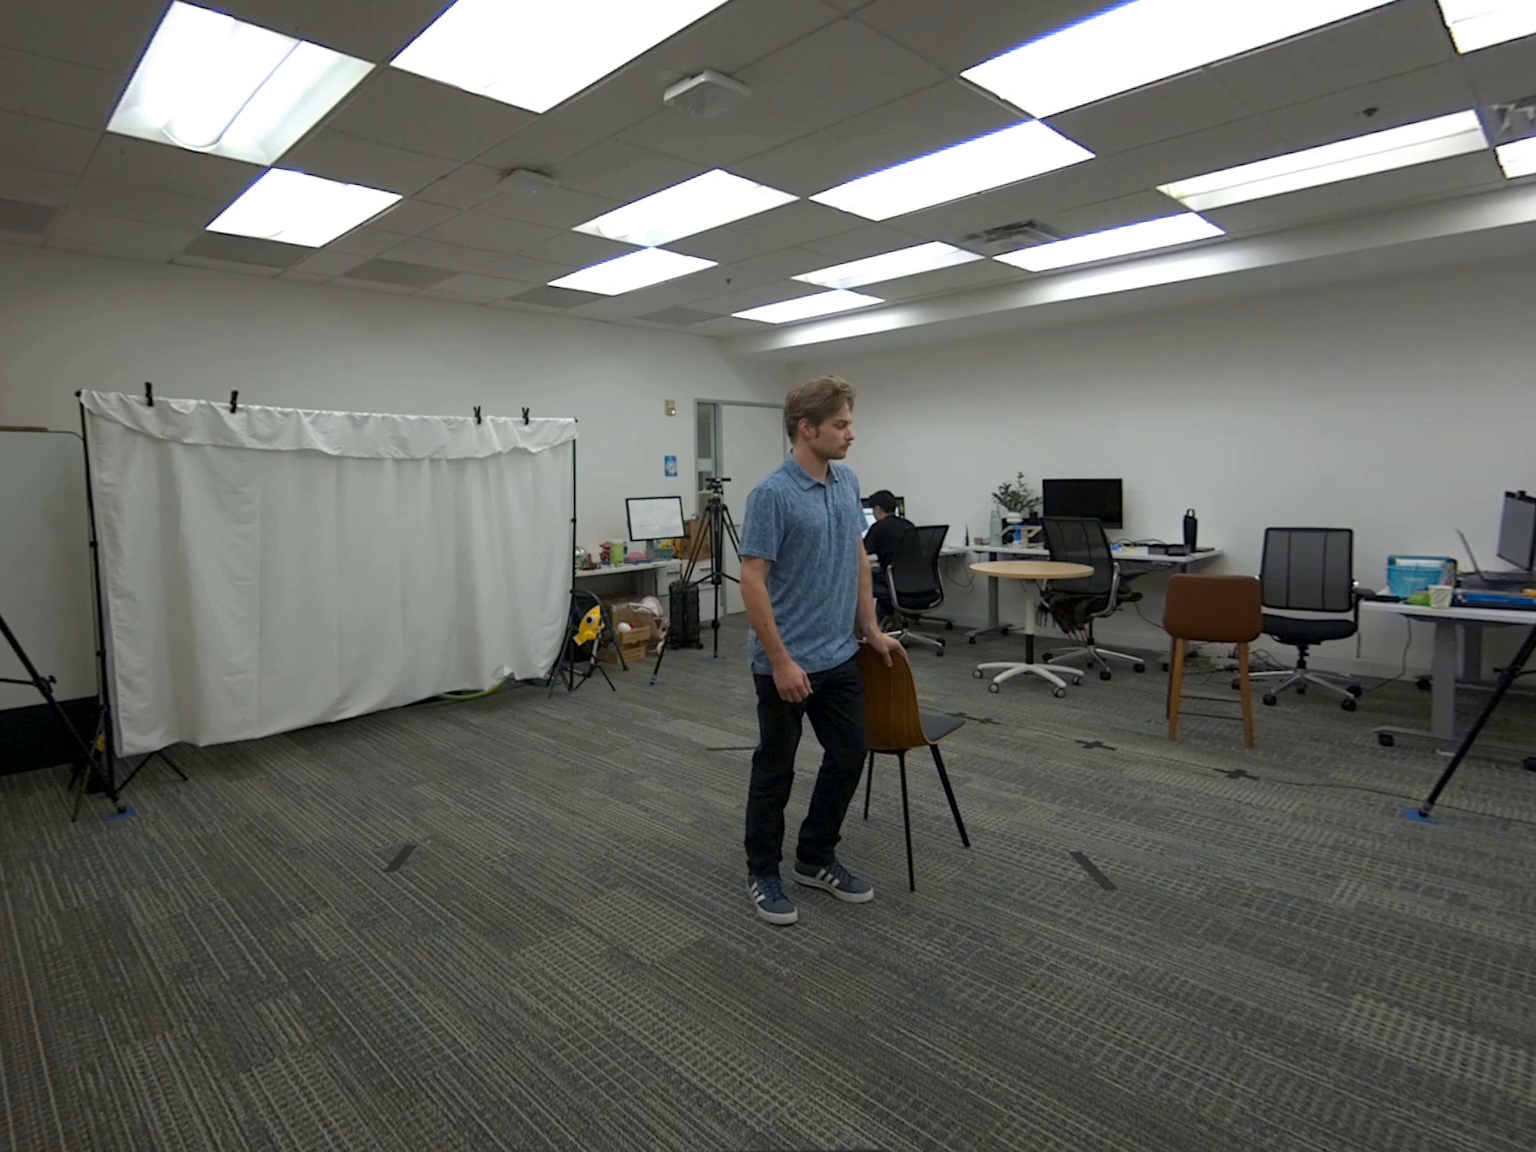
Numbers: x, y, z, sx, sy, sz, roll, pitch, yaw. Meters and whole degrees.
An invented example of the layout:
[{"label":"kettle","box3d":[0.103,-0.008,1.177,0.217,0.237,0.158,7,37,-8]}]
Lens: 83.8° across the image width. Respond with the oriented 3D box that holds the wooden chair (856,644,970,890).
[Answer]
[{"label":"wooden chair","box3d":[0.442,0.598,3.156,0.492,0.871,0.512,2,10,38]}]
